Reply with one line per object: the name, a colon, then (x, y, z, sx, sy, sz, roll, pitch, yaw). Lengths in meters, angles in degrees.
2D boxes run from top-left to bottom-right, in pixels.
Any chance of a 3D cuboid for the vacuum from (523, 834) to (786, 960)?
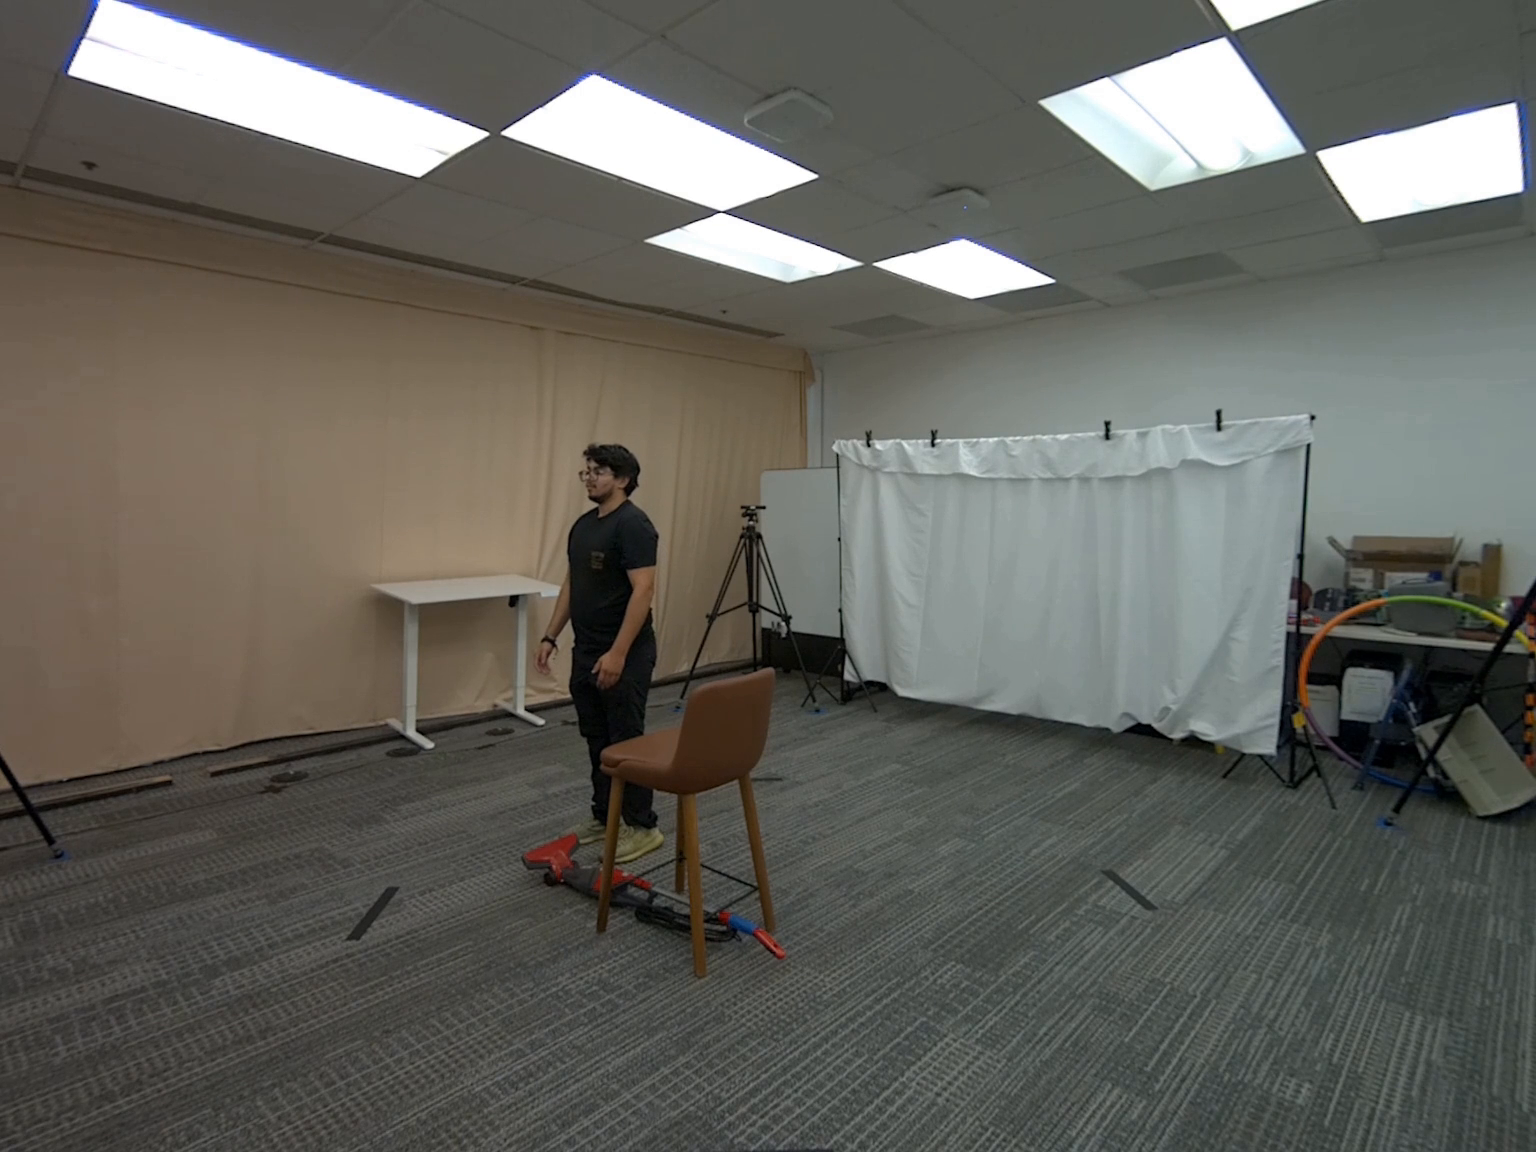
vacuum: (-0.385, 1.105, 2.821, 1.084, 0.143, 0.245, 4, 8, 39)
